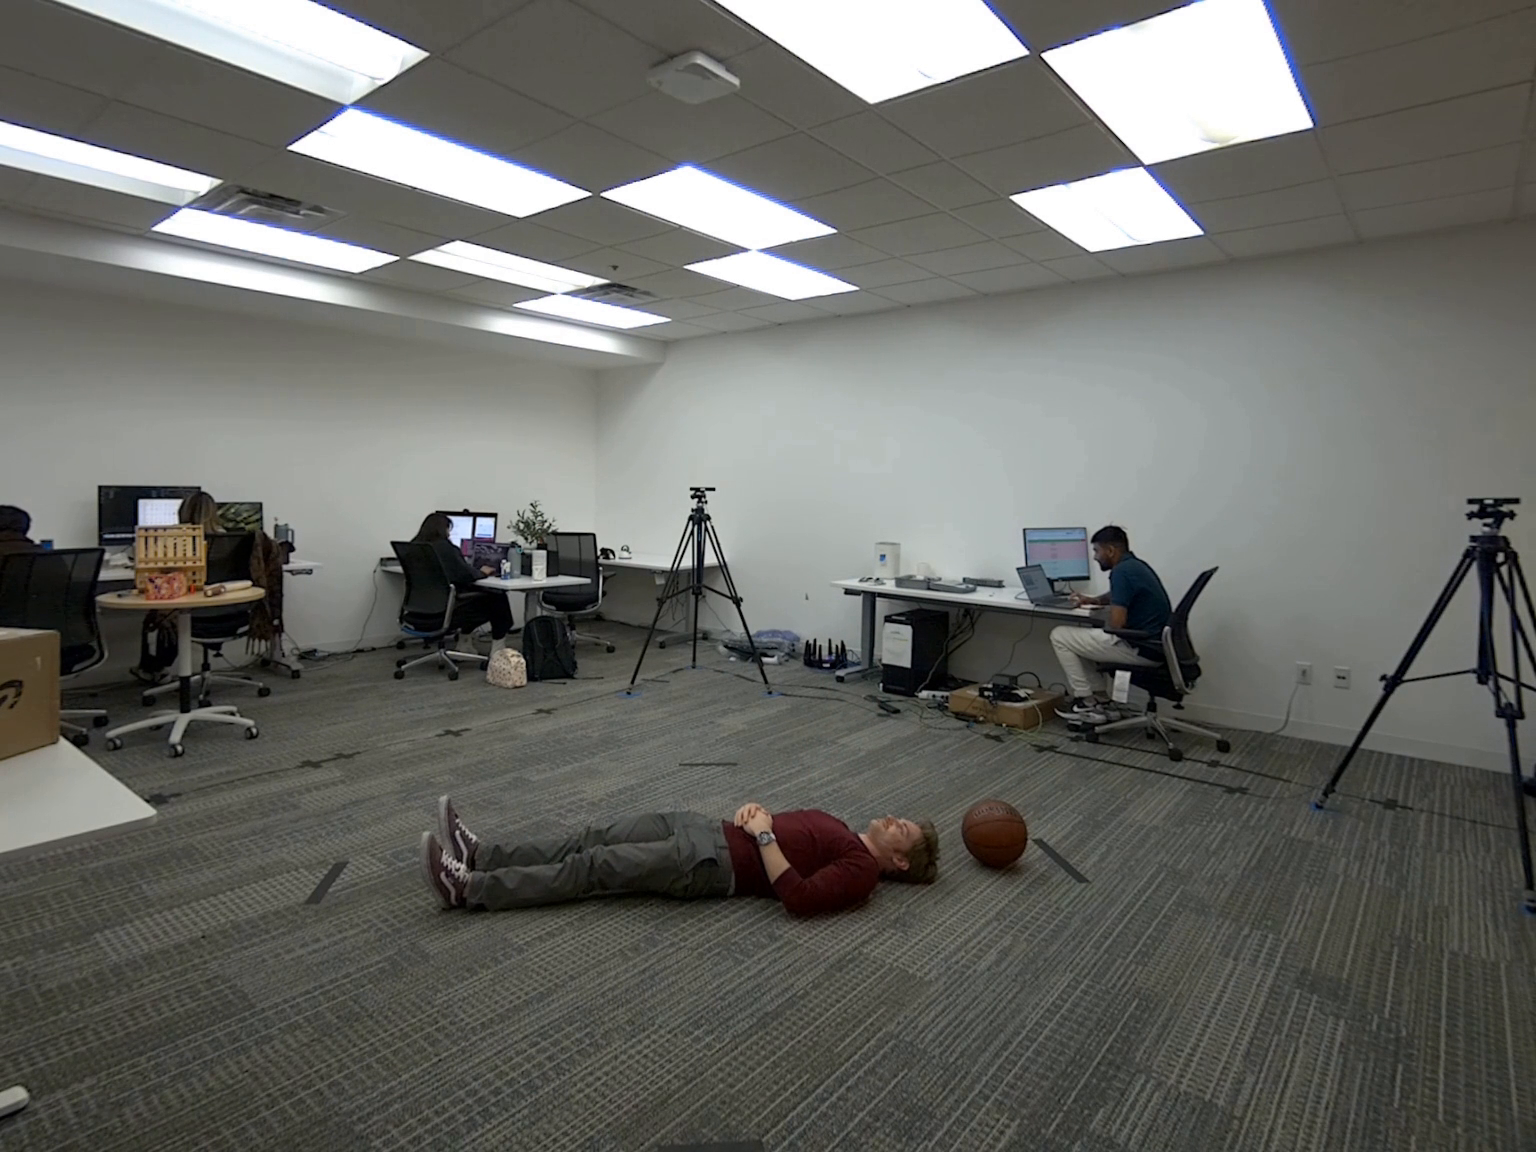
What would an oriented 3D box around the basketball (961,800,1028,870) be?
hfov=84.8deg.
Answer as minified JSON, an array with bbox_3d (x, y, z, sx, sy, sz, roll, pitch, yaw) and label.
[{"bbox_3d":[0.839,0.958,3.210,0.235,0.235,0.237,1,4,-2],"label":"basketball"}]
